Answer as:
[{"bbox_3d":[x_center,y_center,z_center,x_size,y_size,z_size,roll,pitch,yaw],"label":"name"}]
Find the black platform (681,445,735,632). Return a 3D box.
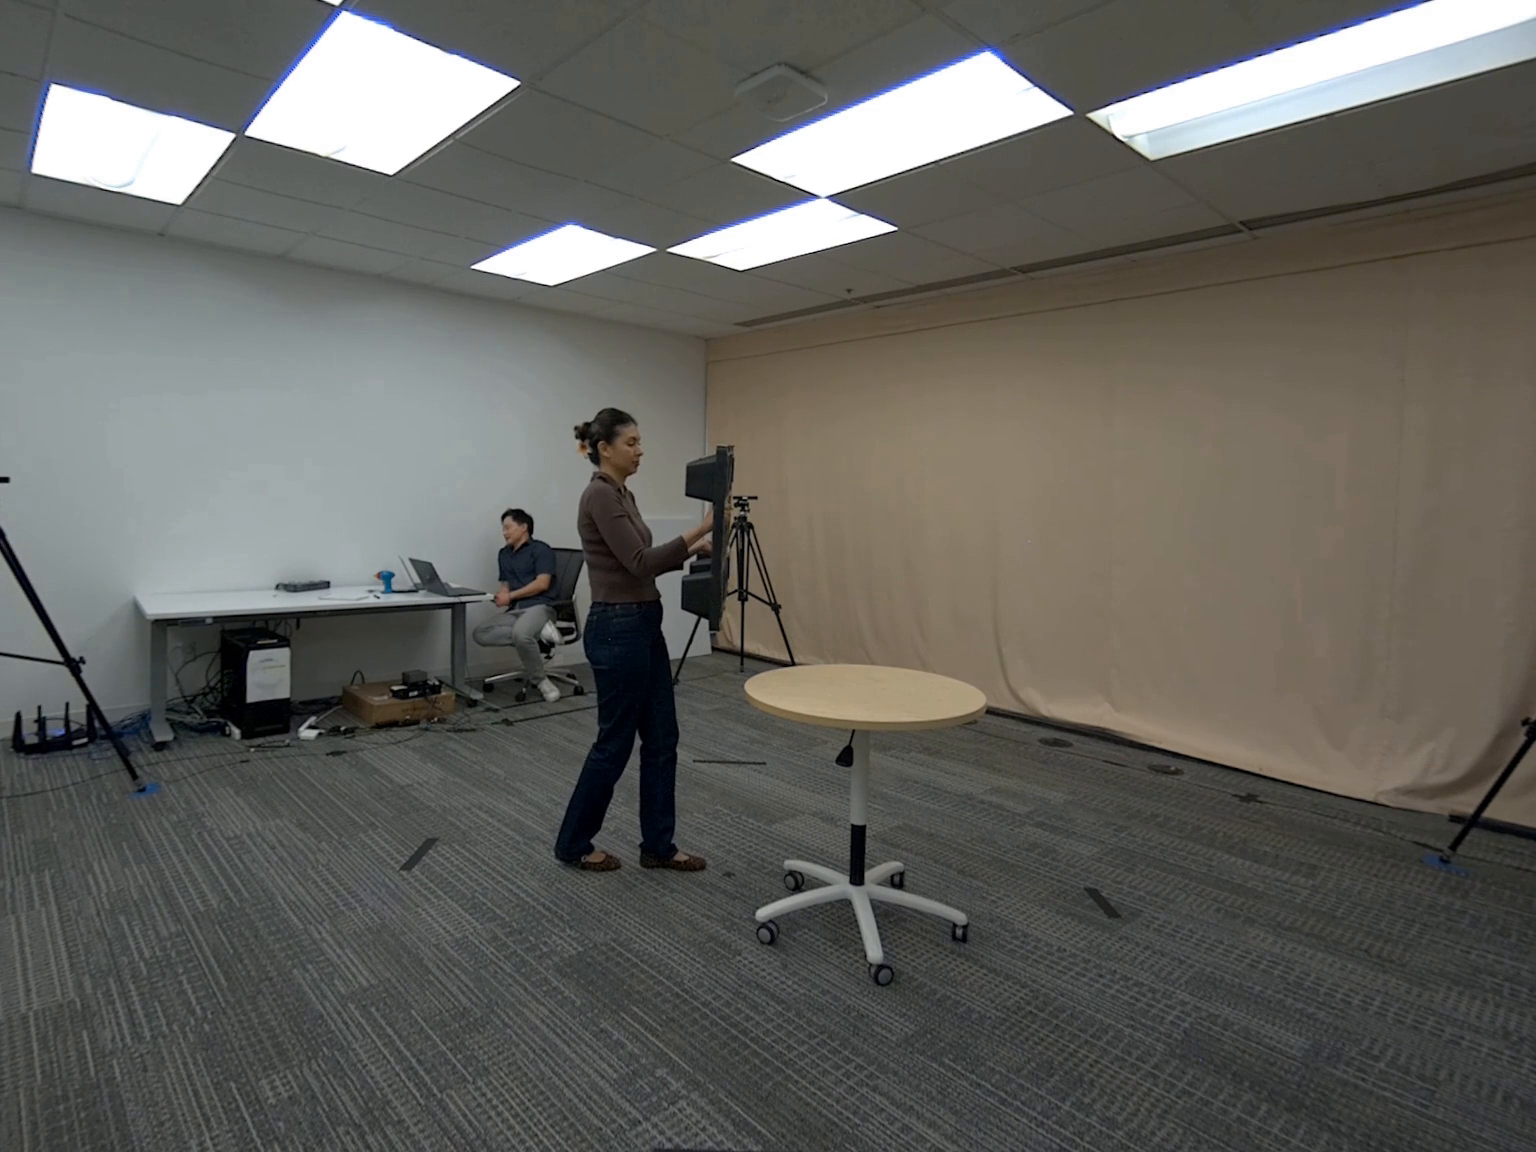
[{"bbox_3d":[-0.220,-0.178,3.066,0.143,0.602,0.809,3,8,-1],"label":"black platform"}]
